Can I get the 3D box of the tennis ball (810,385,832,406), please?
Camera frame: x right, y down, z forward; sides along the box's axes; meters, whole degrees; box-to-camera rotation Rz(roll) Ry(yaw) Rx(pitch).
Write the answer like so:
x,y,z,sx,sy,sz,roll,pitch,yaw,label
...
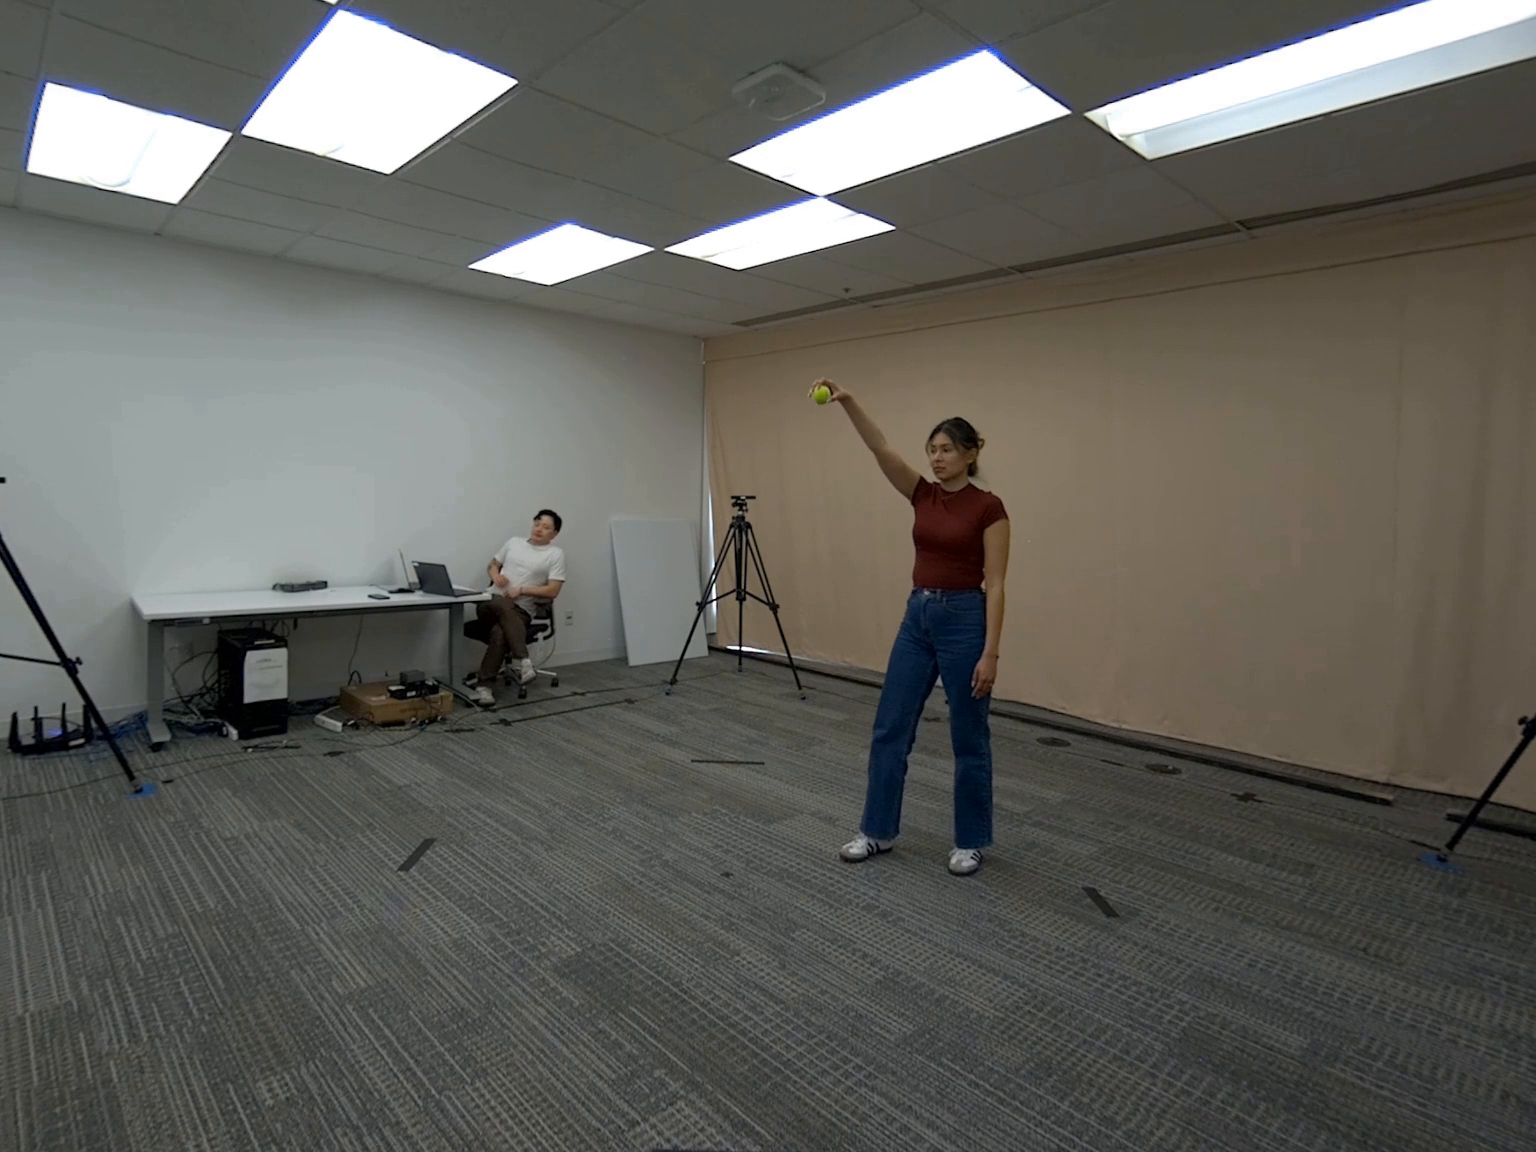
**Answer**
x,y,z,sx,sy,sz,roll,pitch,yaw,label
0.189,-0.625,2.997,0.066,0.066,0.067,1,4,-1,tennis ball
